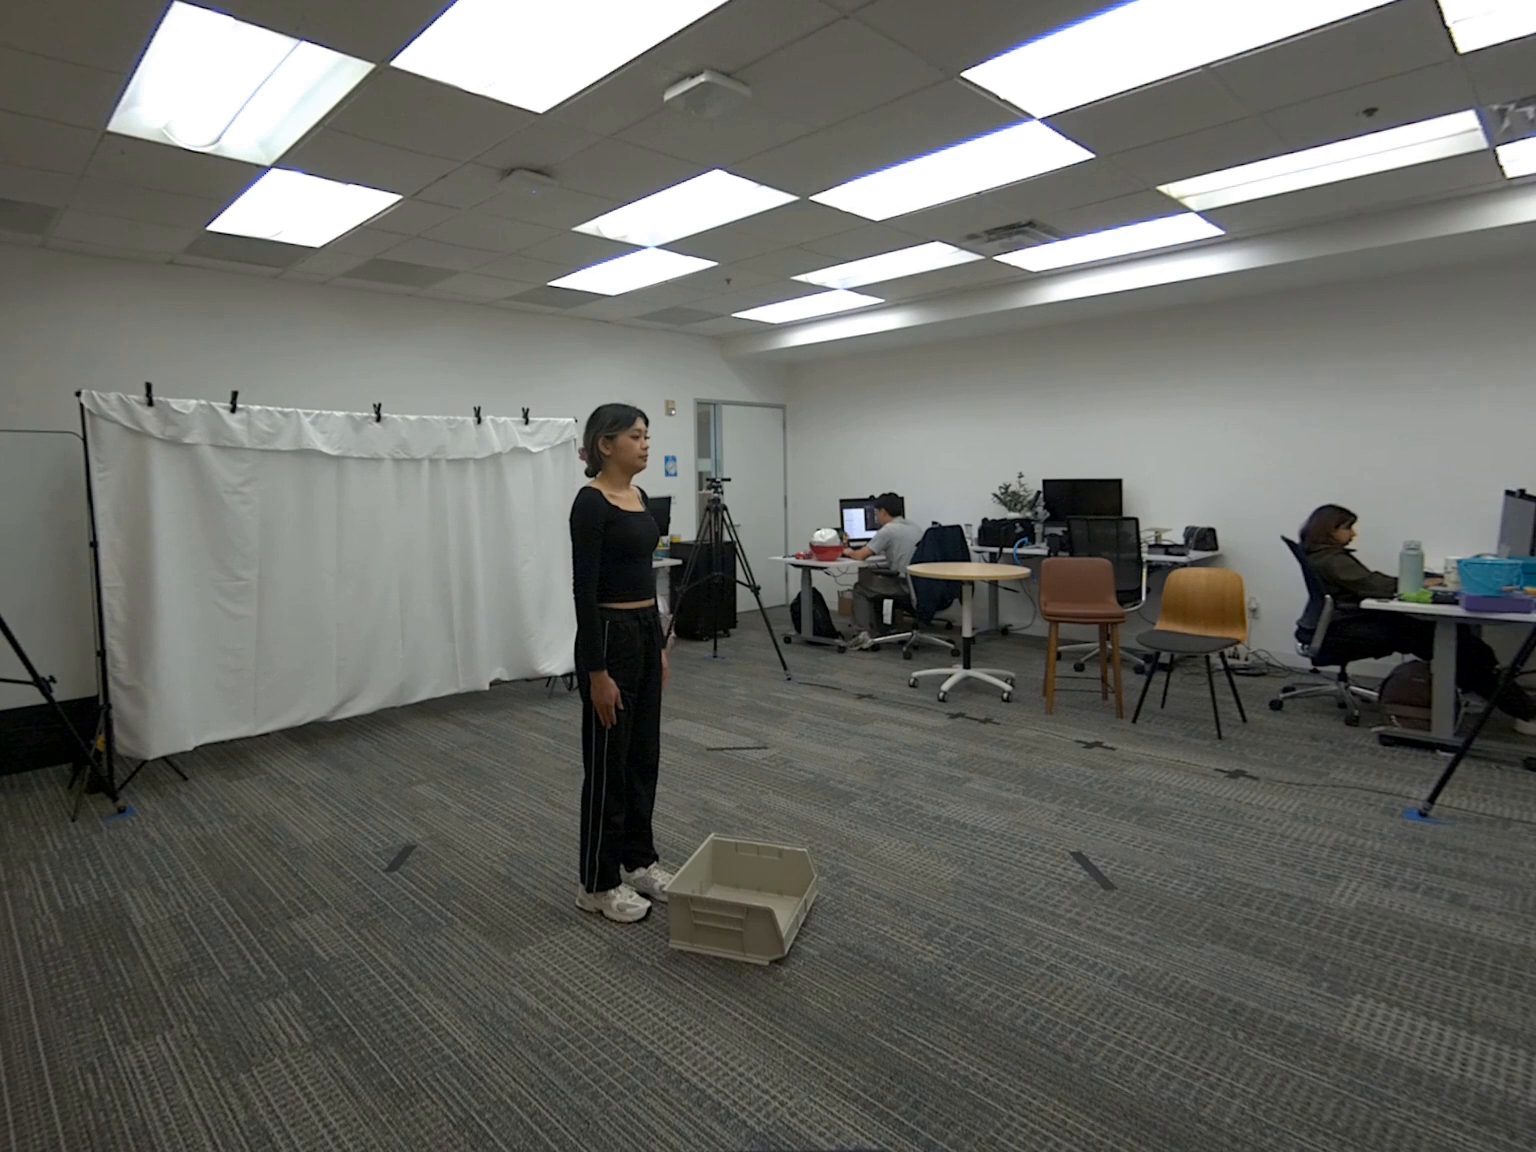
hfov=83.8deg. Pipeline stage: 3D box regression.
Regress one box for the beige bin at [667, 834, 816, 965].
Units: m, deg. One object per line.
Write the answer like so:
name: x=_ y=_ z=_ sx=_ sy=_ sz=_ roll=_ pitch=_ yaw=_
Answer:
beige bin: x=-0.066 y=1.004 z=2.678 sx=0.384 sy=0.188 sz=0.417 roll=0 pitch=7 yaw=19
